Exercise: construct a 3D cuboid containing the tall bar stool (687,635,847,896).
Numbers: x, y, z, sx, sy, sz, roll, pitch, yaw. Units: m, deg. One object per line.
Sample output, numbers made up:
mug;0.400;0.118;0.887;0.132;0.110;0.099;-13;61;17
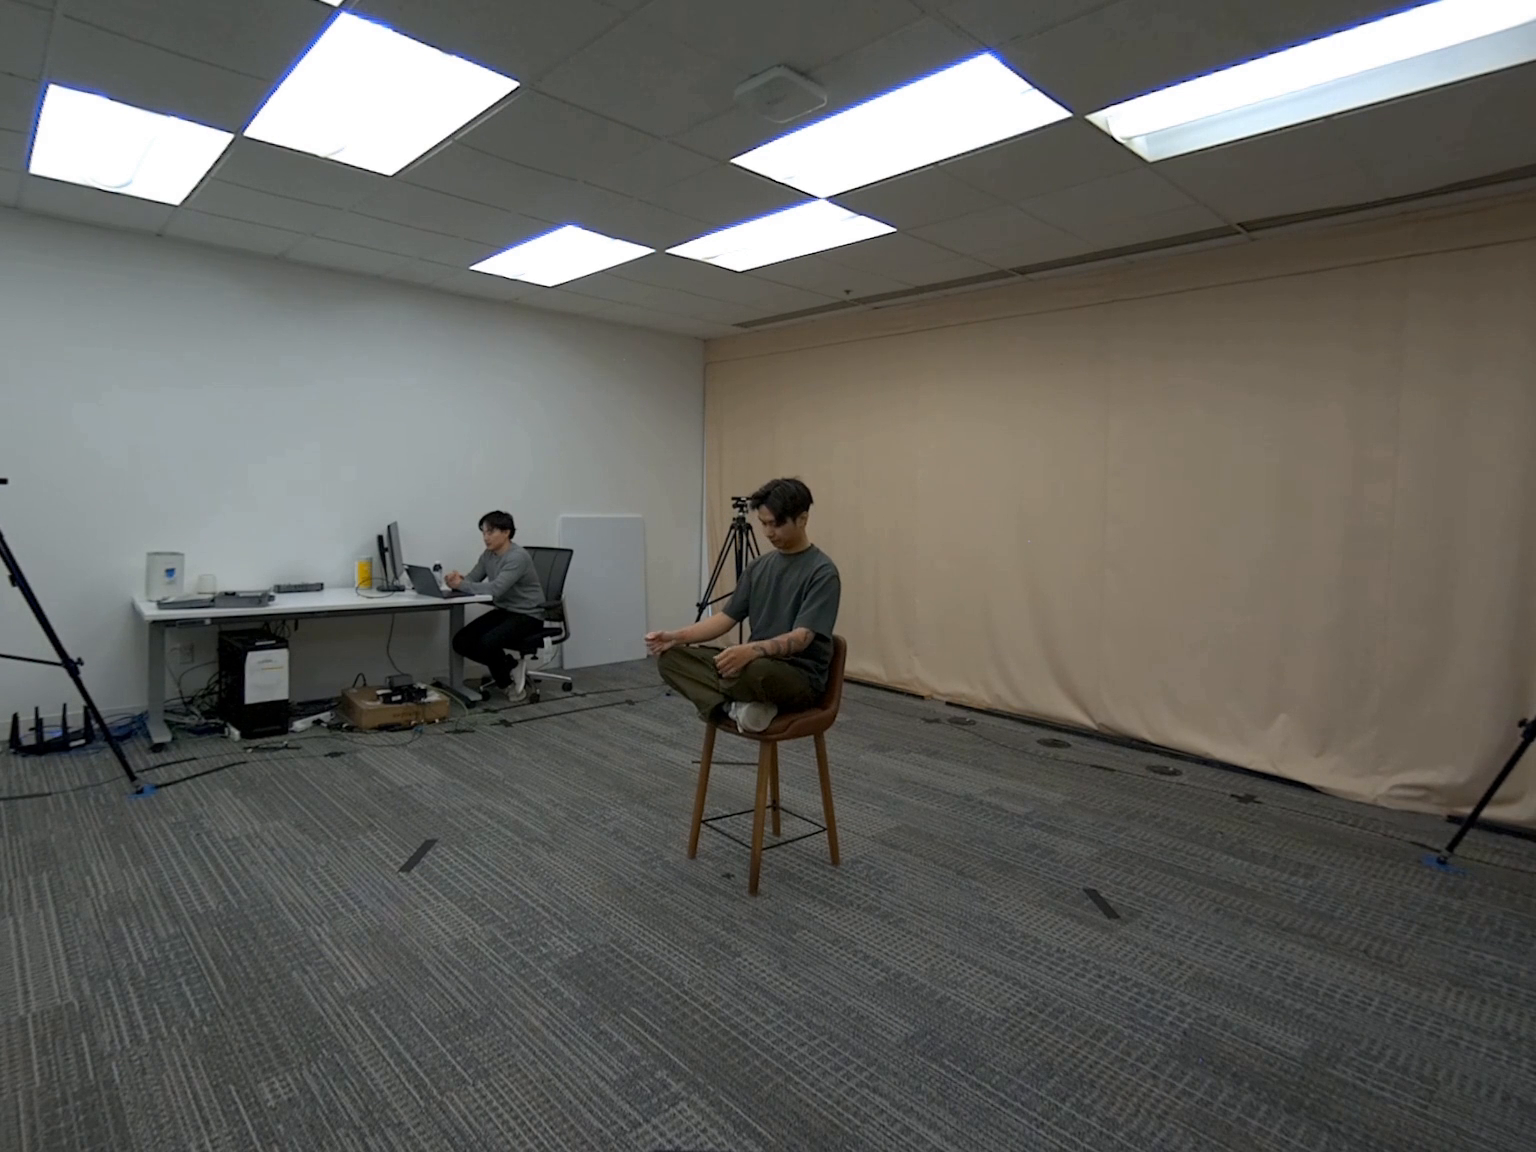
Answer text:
tall bar stool;0.003;0.664;3.221;0.456;0.889;0.468;2;2;-39
